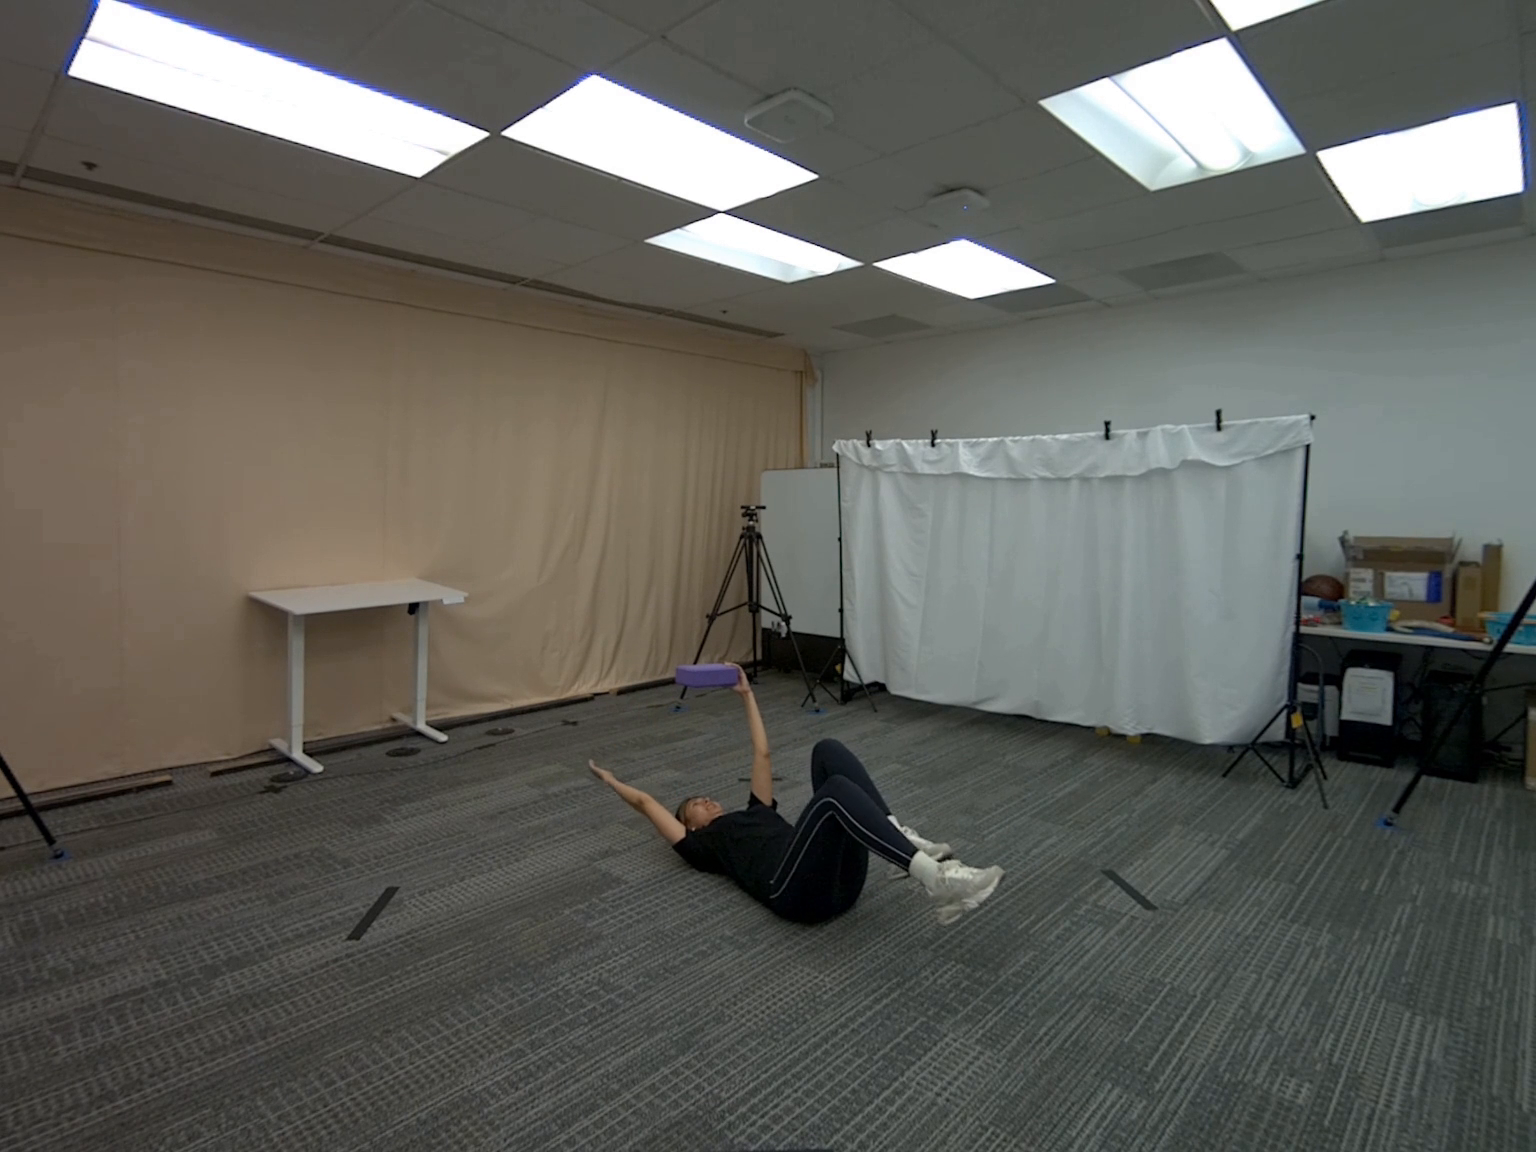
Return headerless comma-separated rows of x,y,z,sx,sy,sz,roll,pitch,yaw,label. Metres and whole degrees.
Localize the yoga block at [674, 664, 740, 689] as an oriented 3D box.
-0.255,0.418,3.546,0.223,0.076,0.153,1,0,-32,yoga block
